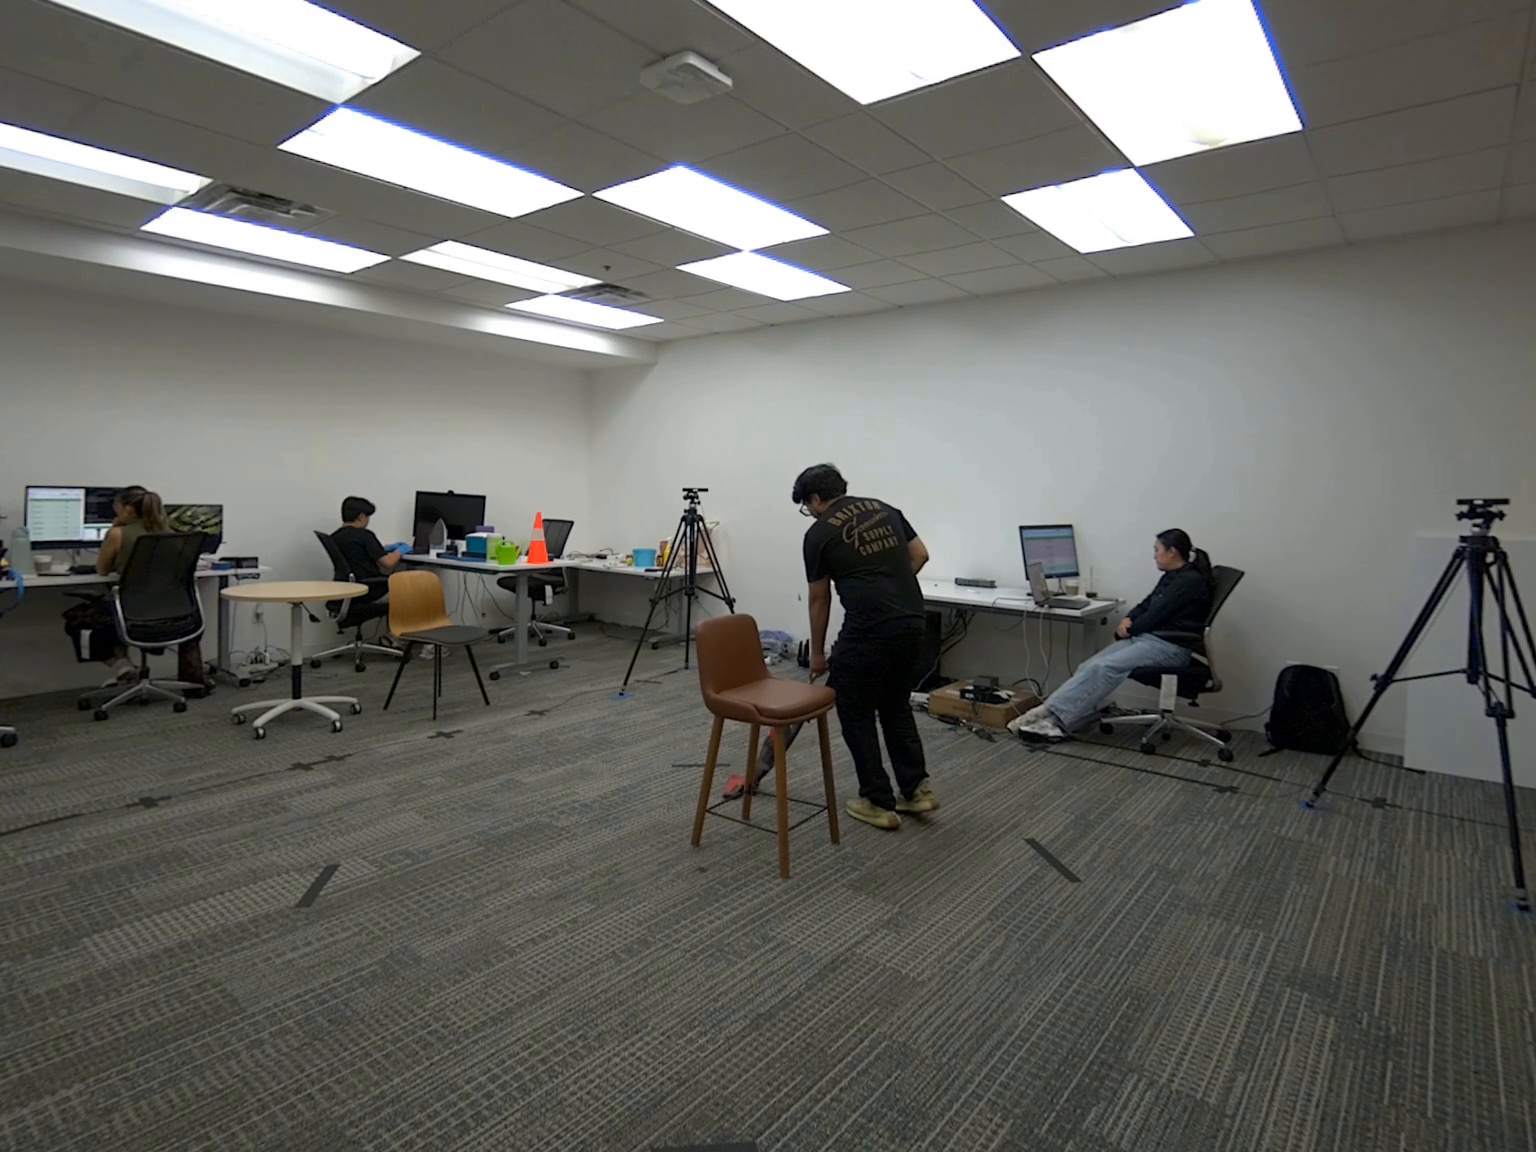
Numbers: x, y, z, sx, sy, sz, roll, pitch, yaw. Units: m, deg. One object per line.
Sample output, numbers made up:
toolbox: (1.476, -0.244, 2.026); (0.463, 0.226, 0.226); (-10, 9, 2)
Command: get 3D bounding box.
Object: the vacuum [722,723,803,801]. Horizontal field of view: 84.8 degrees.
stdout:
vacuum: (0.162, 0.551, 3.866); (0.145, 1.048, 0.252); (35, 8, 2)
